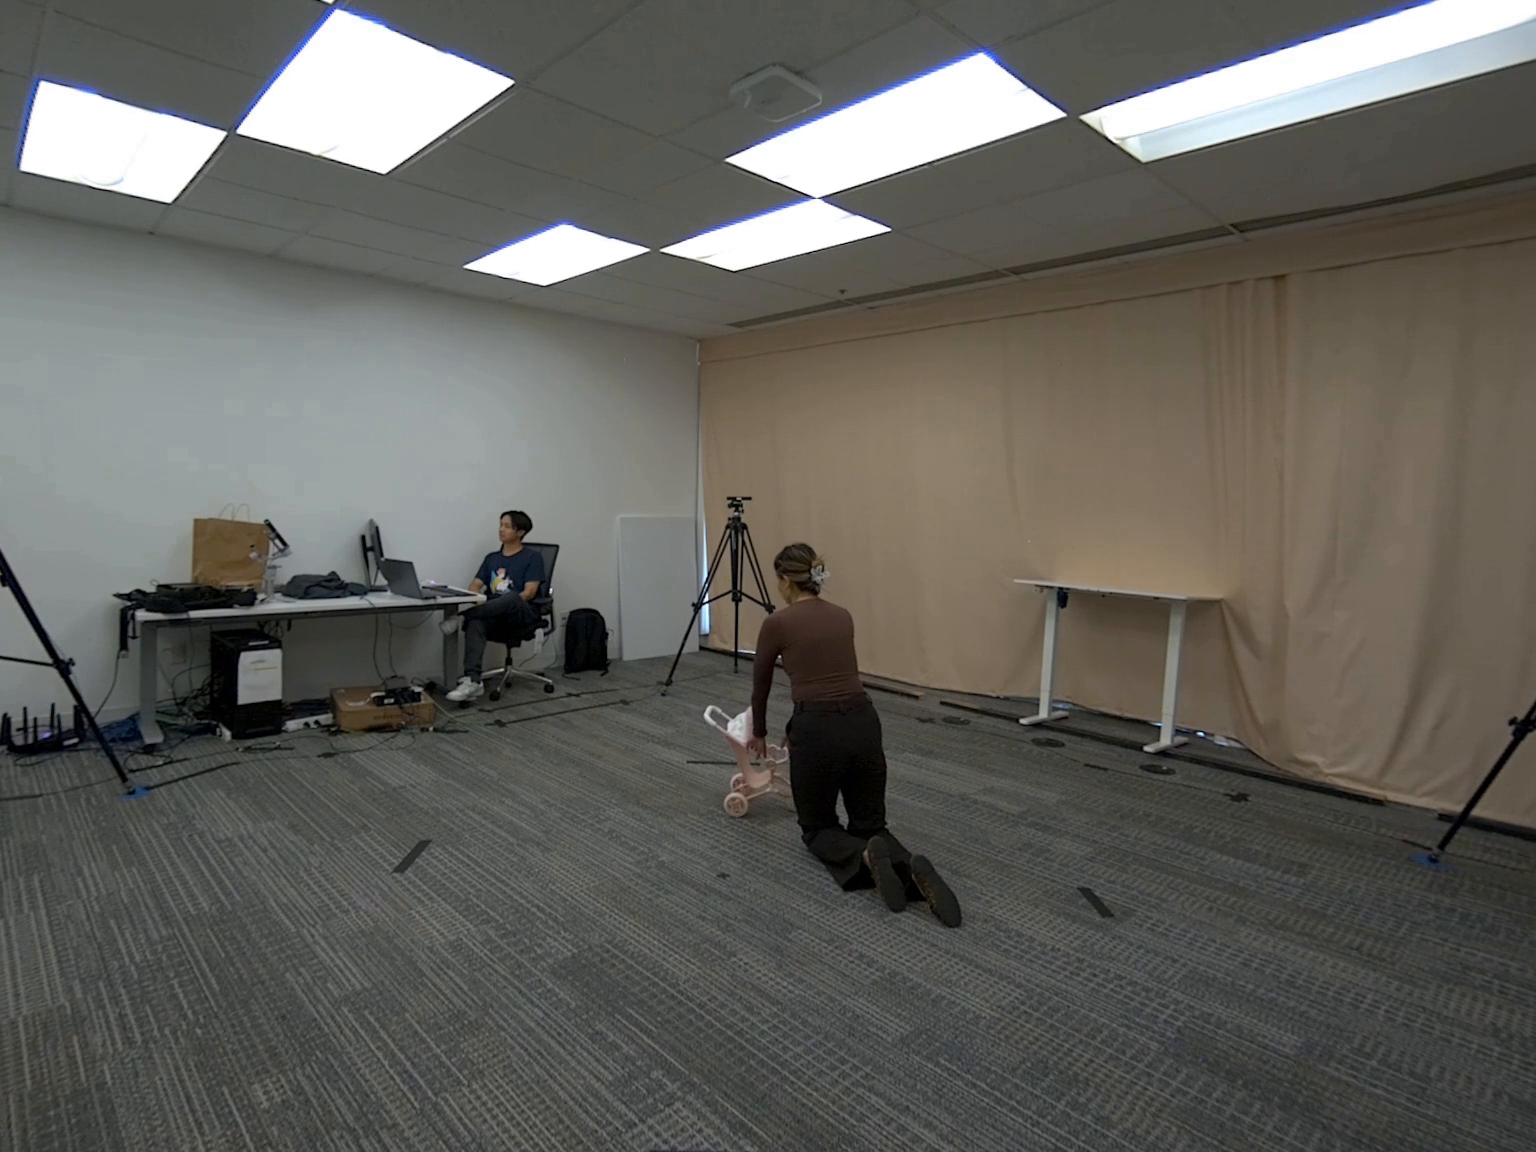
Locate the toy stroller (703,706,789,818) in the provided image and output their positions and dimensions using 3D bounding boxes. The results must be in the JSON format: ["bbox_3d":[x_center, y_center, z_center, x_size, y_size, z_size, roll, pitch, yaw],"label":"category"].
[{"bbox_3d":[-0.066,0.824,3.781,0.344,0.534,0.280,-12,3,11],"label":"toy stroller"}]
